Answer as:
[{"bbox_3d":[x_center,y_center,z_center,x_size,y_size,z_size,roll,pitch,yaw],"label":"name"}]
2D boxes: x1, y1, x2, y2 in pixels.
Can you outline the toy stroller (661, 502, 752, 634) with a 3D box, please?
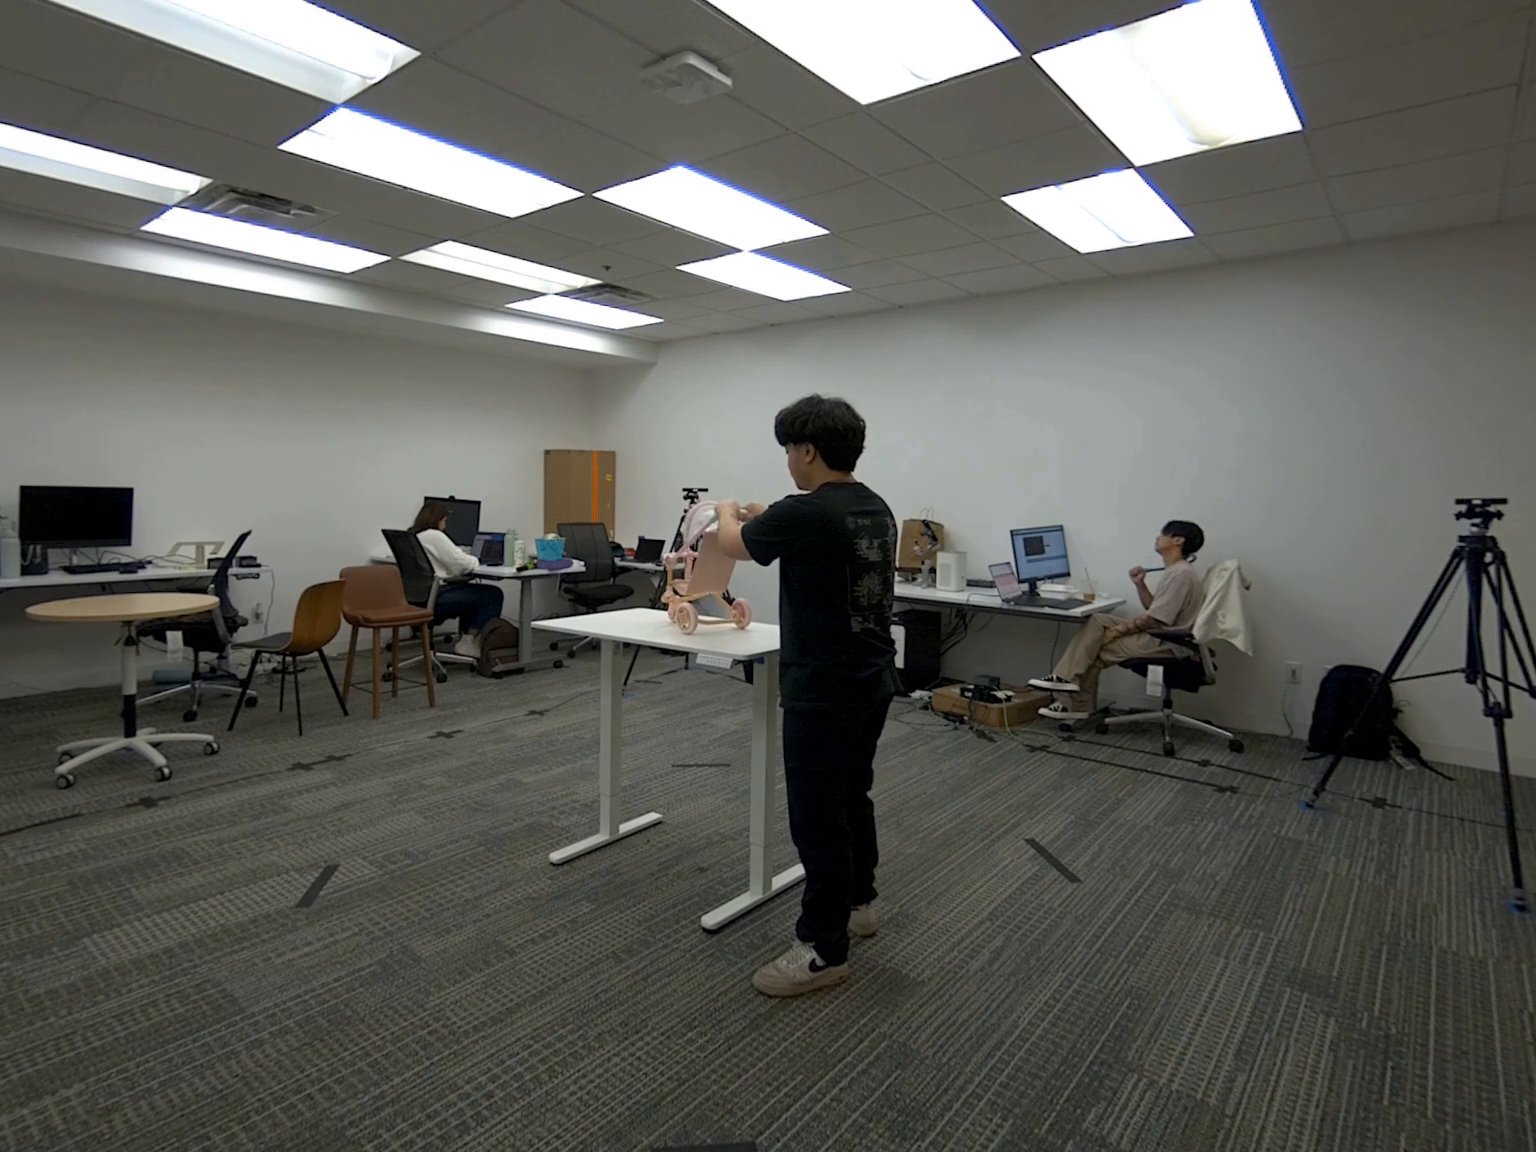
[{"bbox_3d":[-0.237,-0.035,3.062,0.273,0.529,0.355,-1,18,-35],"label":"toy stroller"}]
